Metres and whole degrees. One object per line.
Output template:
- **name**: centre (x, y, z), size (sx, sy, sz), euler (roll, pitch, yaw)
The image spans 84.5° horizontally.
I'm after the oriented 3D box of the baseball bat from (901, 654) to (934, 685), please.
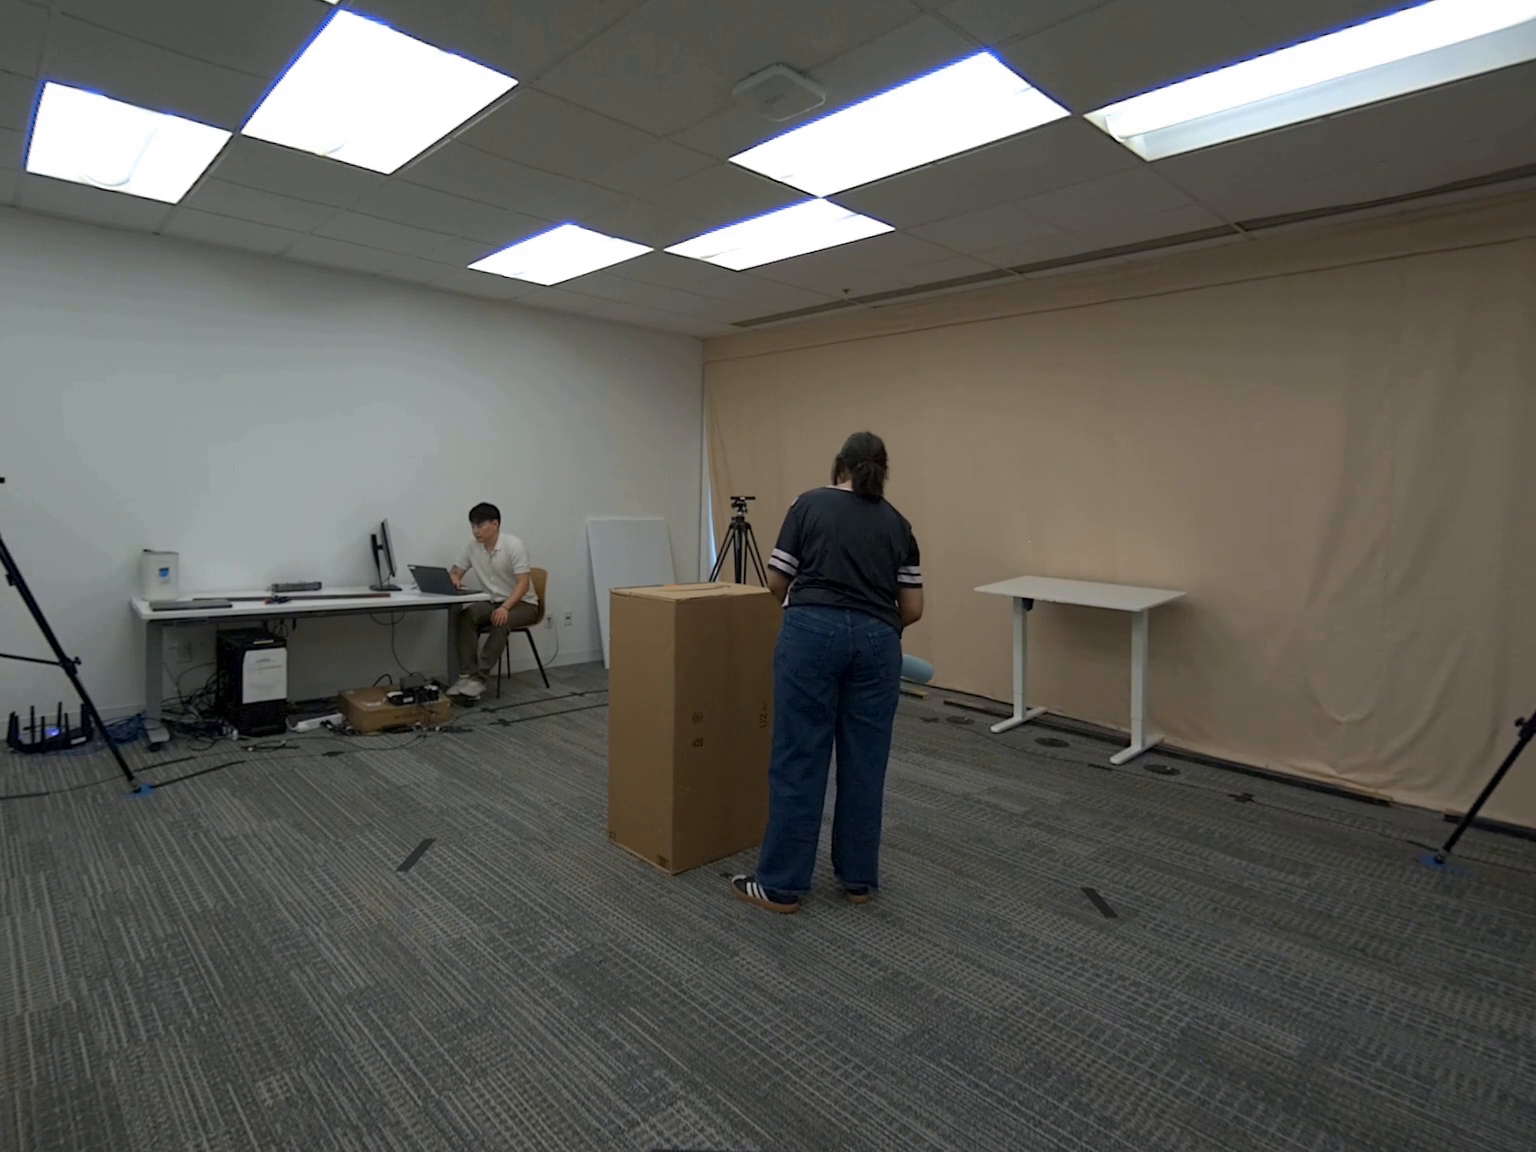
- **baseball bat**: centre (0.426, 0.302, 3.263), size (0.529, 0.089, 0.091), euler (20, -7, -32)
